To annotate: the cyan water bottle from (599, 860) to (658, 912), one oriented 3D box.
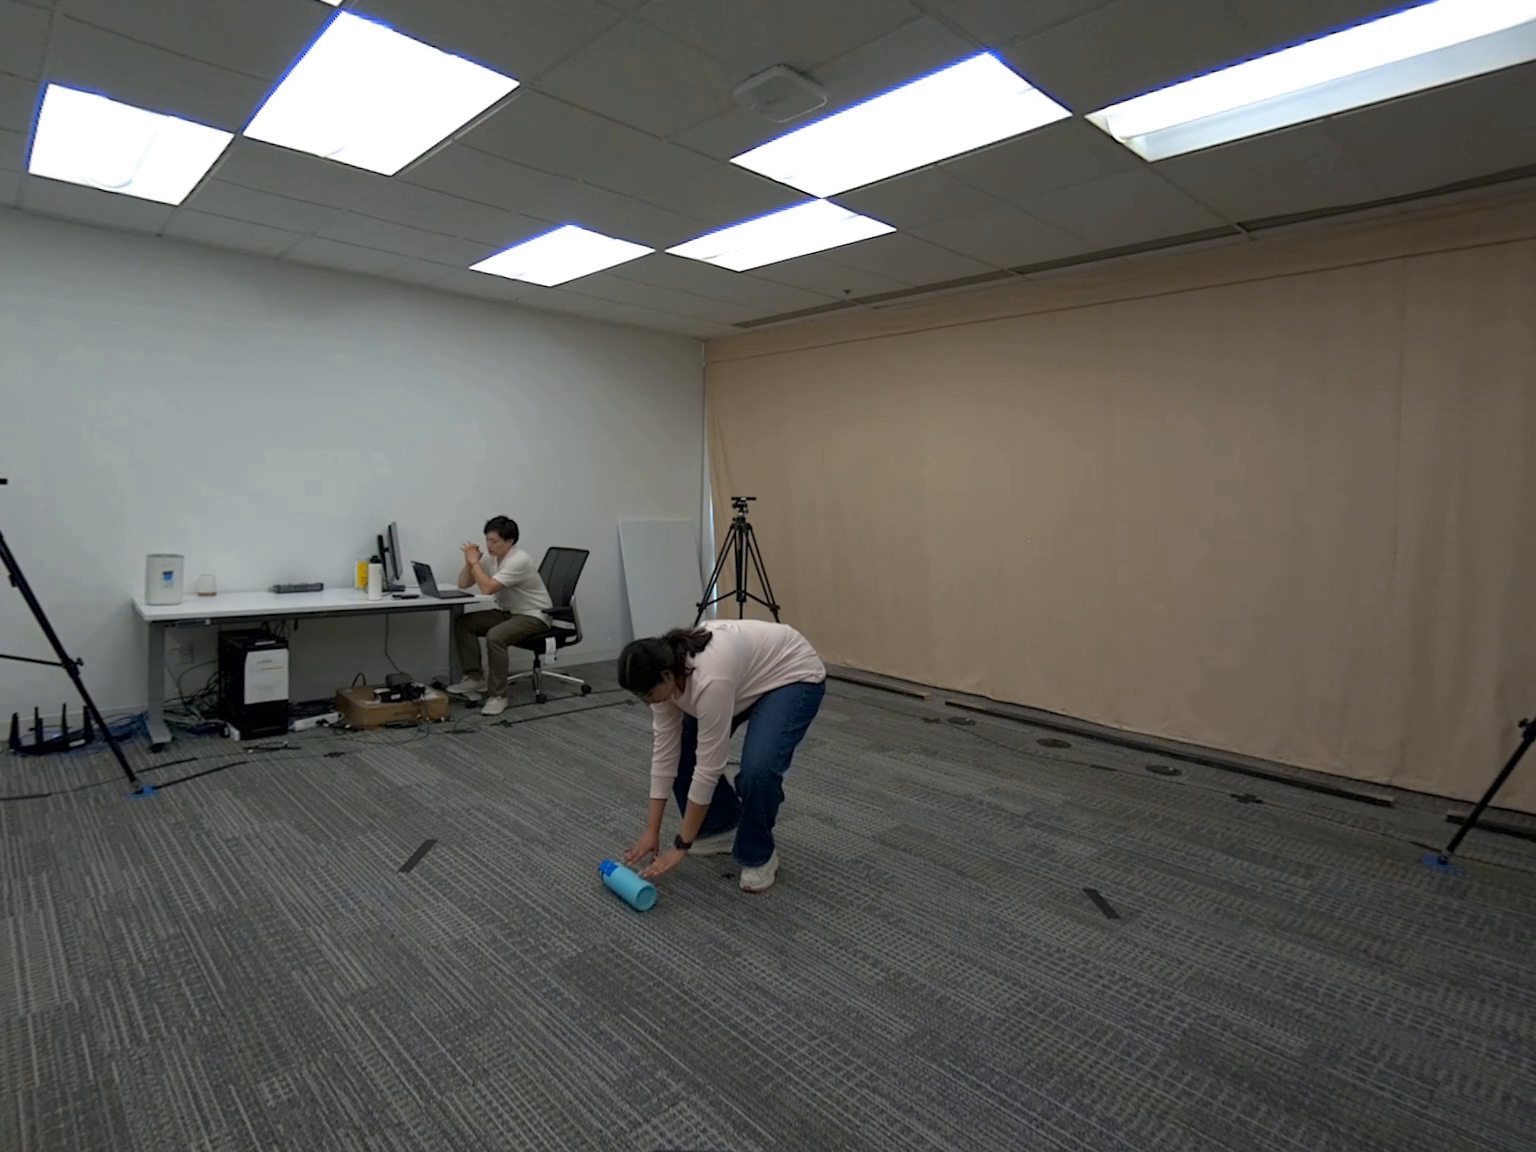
[{"bbox_3d":[-0.501,1.063,2.932,0.090,0.092,0.291,-2,6,-39],"label":"cyan water bottle"}]
